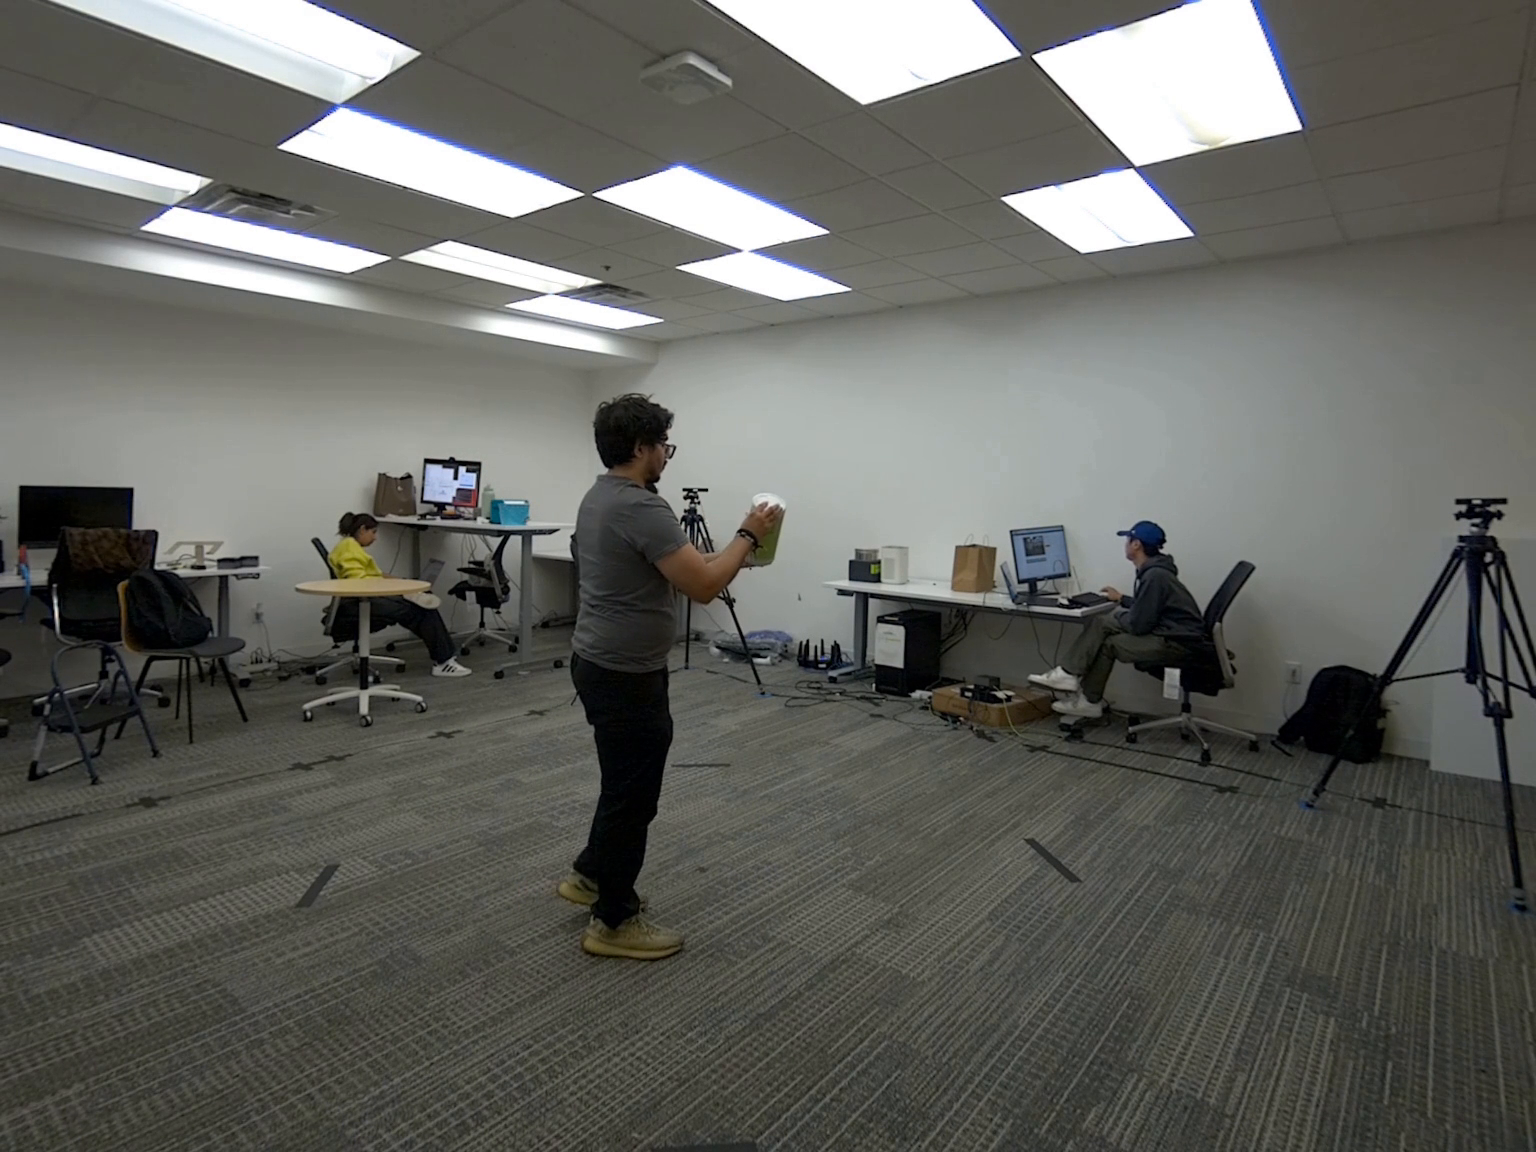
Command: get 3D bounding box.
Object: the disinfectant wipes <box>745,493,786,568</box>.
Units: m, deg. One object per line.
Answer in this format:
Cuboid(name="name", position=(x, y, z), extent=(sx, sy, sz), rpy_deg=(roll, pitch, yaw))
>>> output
Cuboid(name="disinfectant wipes", position=(-0.023, -0.150, 2.697), extent=(0.117, 0.212, 0.121), rpy_deg=(5, 35, -6))
